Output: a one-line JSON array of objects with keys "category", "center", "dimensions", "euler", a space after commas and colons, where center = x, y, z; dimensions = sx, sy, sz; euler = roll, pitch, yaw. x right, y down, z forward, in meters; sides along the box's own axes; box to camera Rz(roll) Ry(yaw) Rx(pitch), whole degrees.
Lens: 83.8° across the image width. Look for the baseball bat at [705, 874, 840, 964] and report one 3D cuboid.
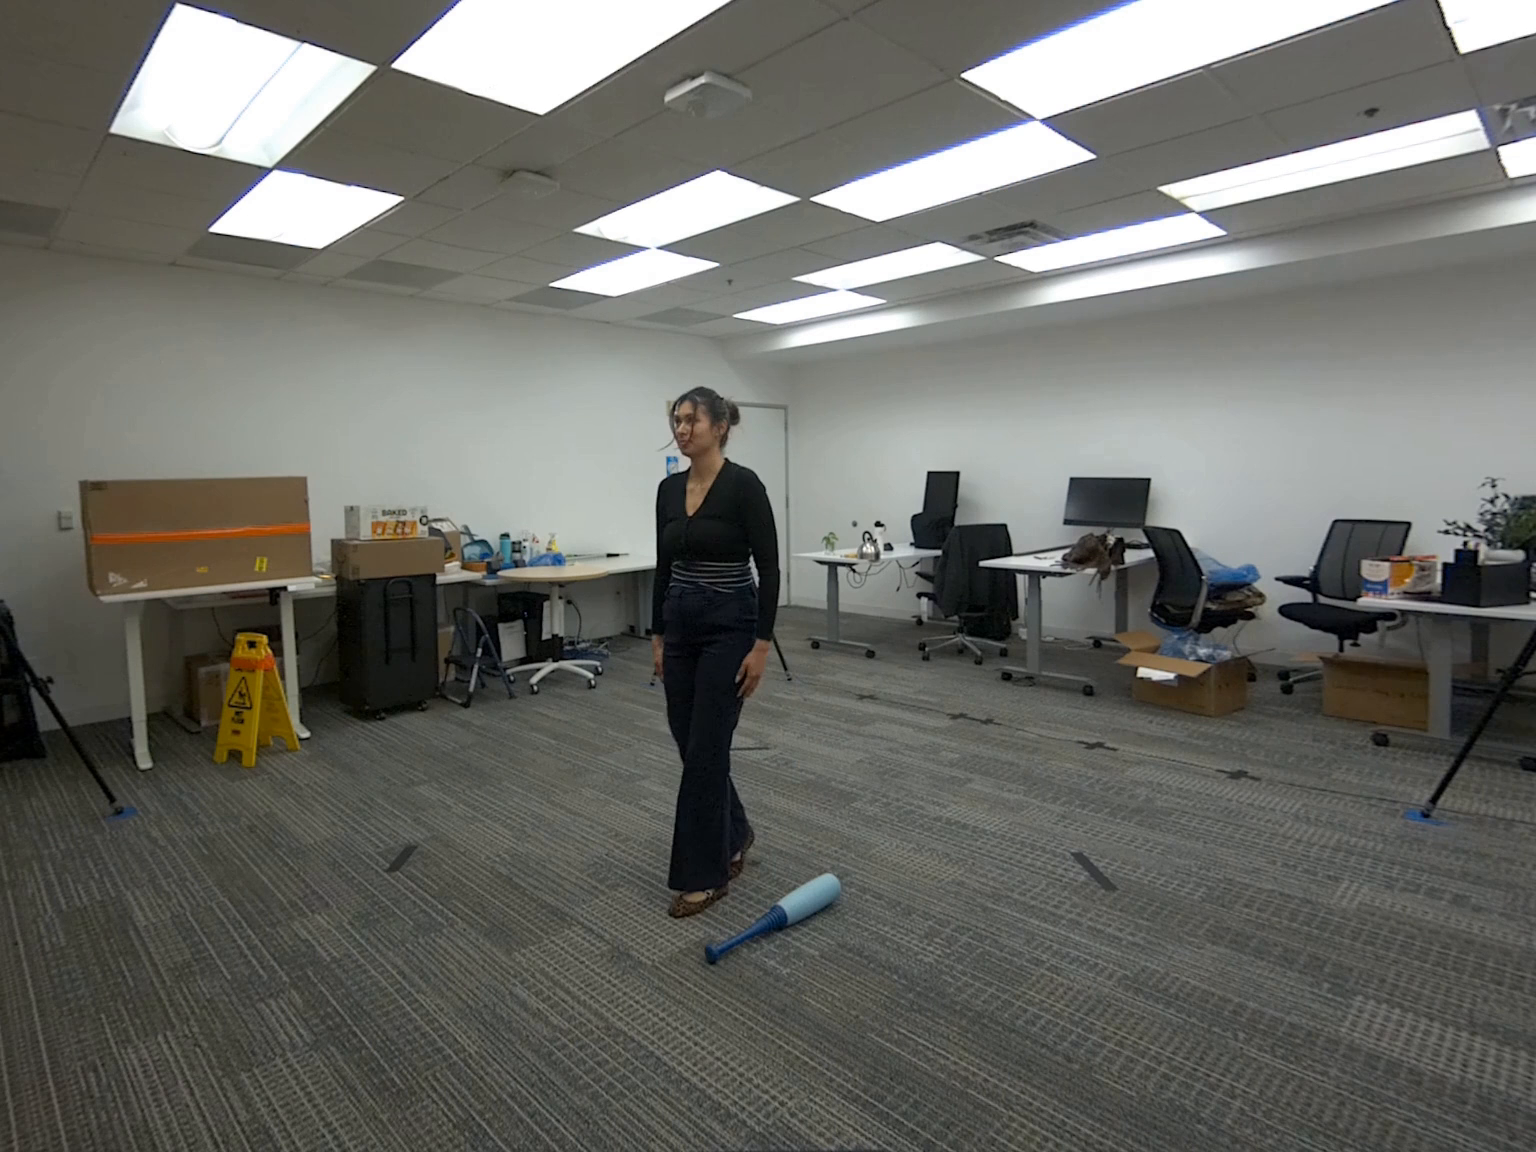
[{"category": "baseball bat", "center": [0.030, 1.064, 2.640], "dimensions": [0.530, 0.088, 0.092], "euler": [-12, 11, -41]}]
